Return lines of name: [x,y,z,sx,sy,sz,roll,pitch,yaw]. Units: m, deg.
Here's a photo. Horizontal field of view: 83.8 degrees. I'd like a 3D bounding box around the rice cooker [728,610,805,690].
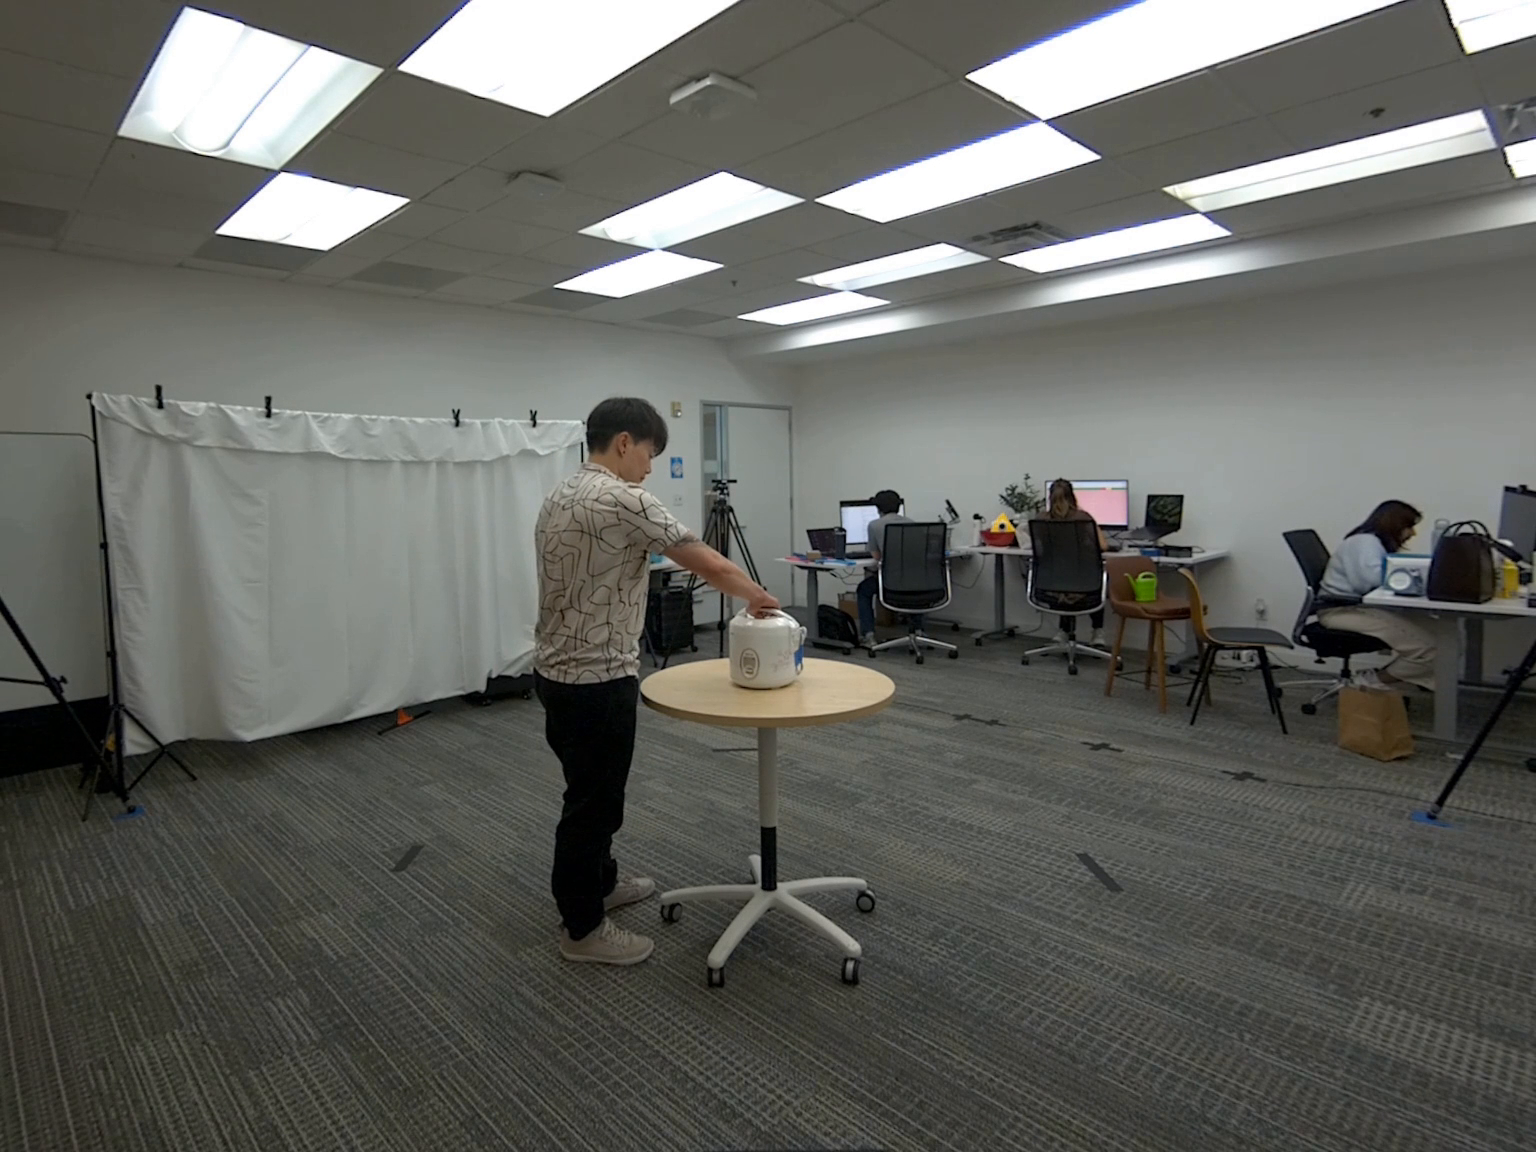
rice cooker: [-0.012,0.210,2.585,0.225,0.232,0.213,1,4,23]
